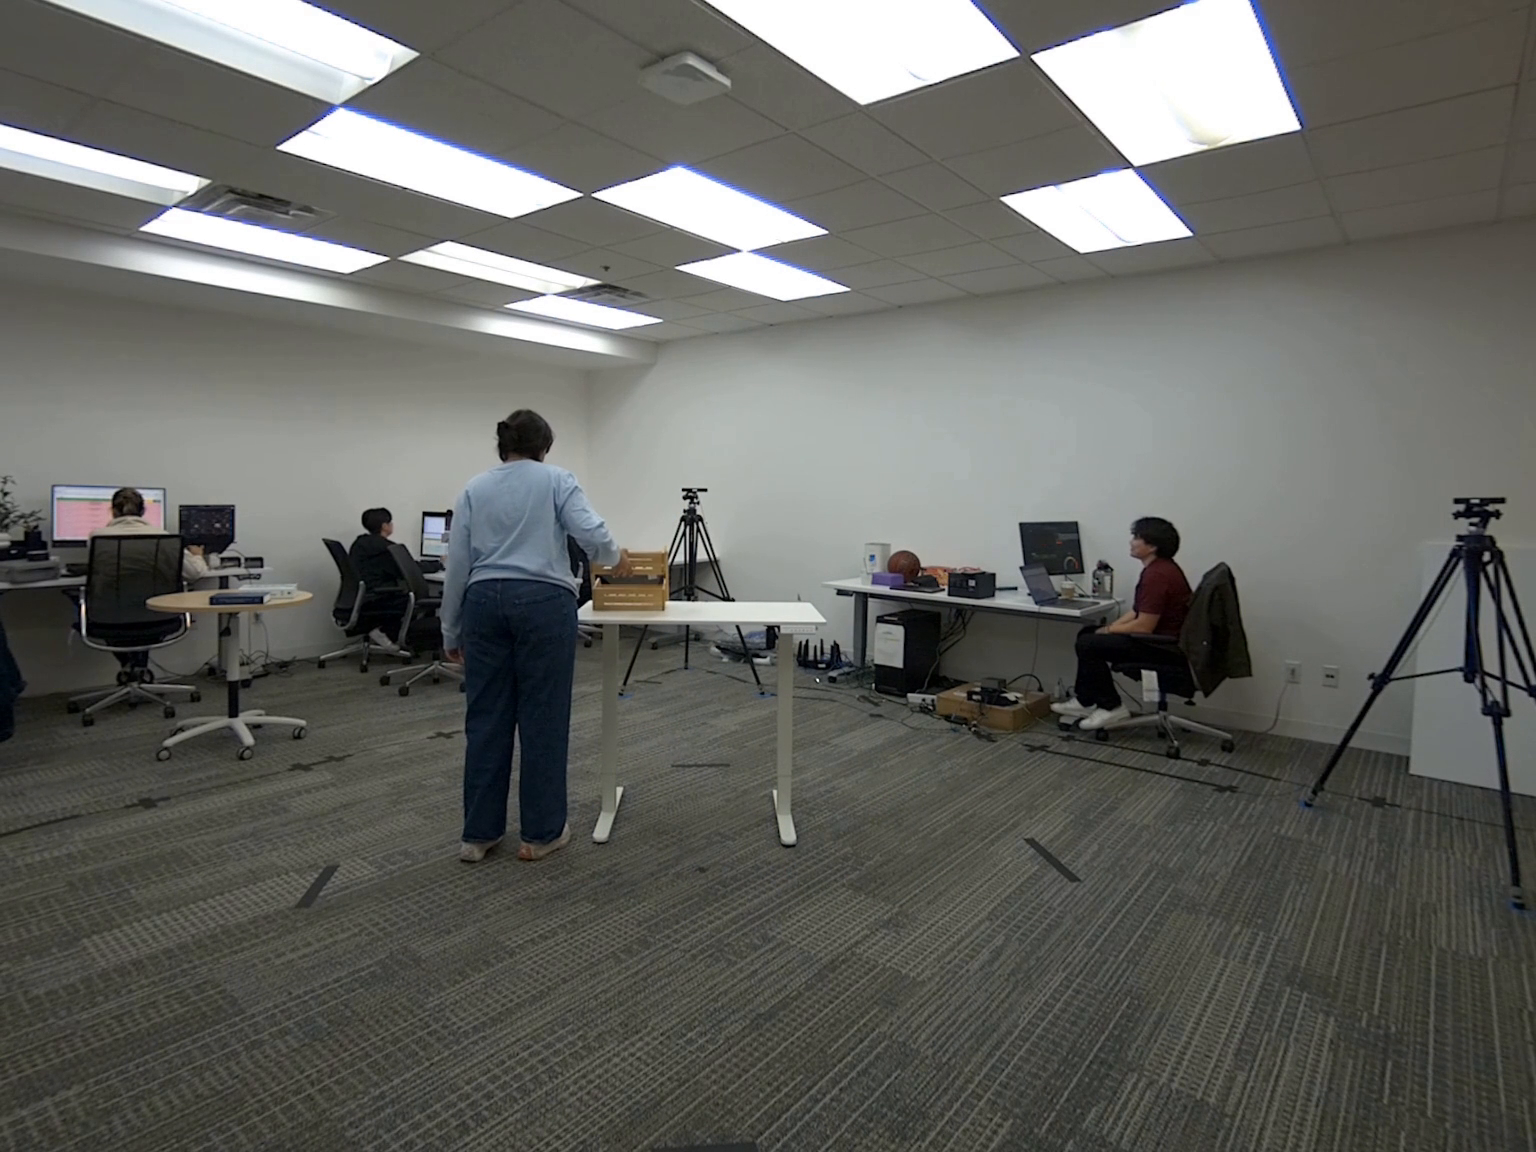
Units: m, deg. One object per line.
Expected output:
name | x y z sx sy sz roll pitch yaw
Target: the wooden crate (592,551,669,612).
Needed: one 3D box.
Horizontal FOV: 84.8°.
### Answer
wooden crate | -0.602 -0.009 3.614 0.322 0.270 0.307 0 13 -6
